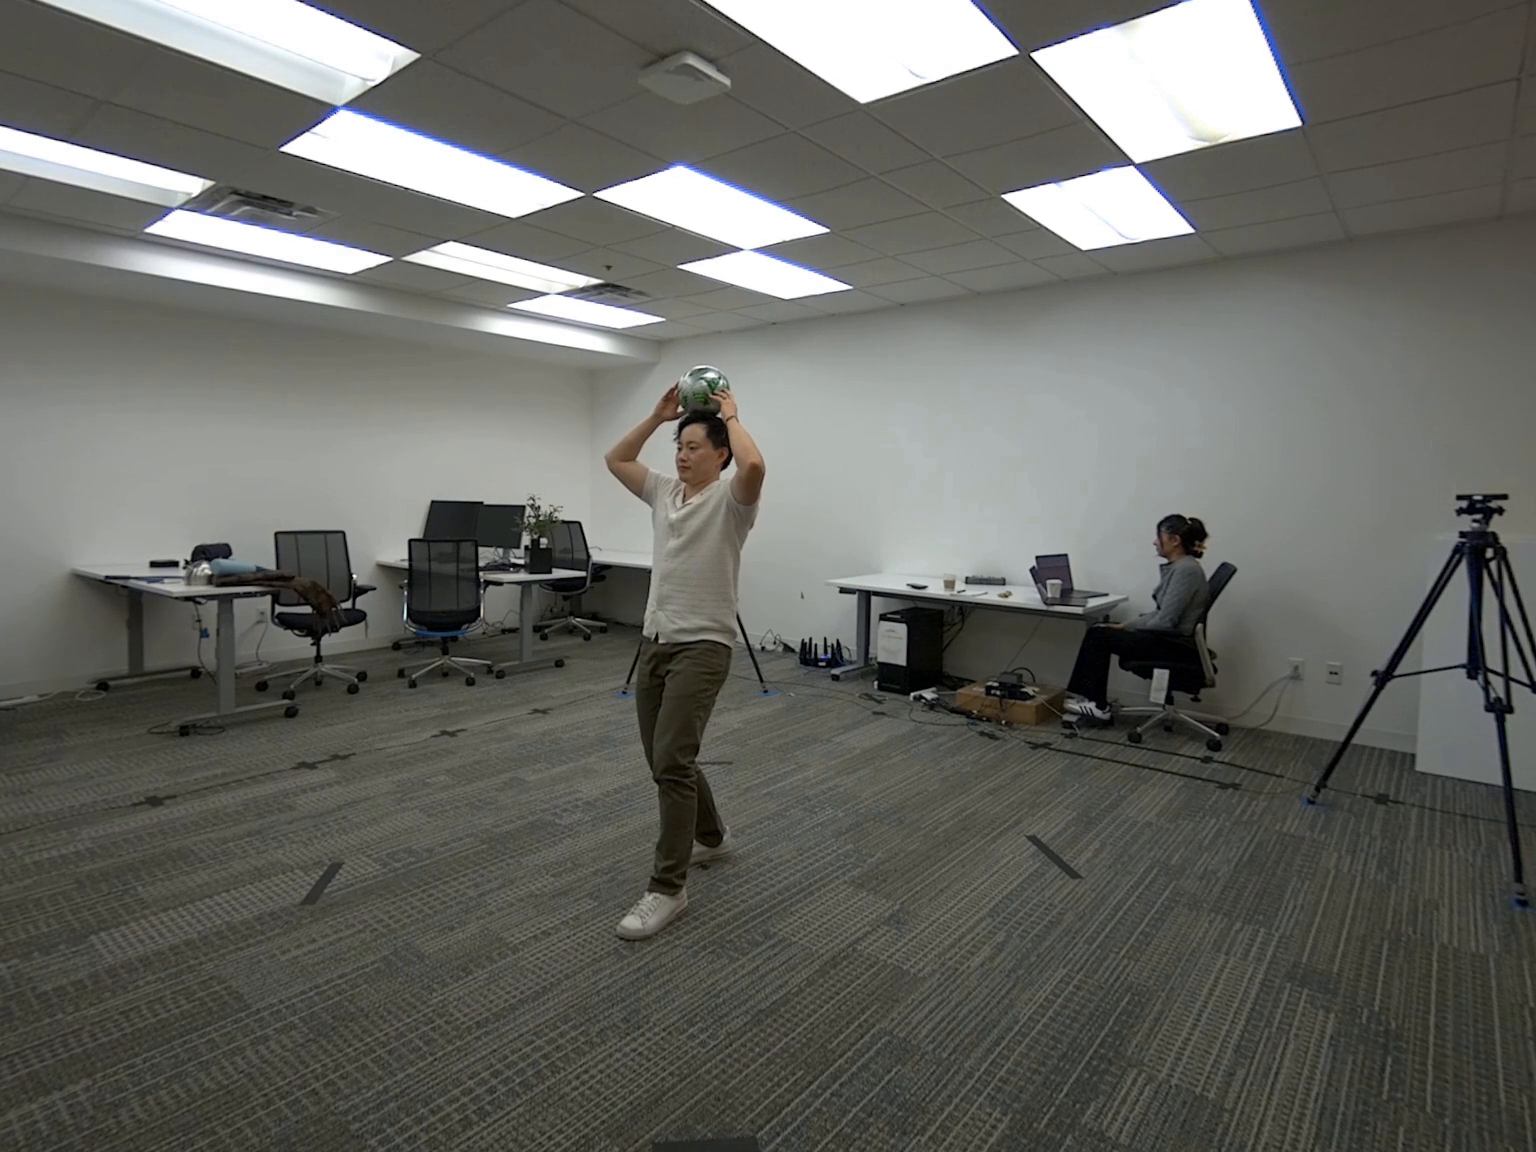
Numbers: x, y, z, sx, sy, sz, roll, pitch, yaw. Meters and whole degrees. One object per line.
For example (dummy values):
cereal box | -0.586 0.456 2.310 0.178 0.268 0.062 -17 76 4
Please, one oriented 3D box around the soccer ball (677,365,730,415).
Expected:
soccer ball | -0.236 -0.654 3.040 0.187 0.187 0.188 1 4 -2
